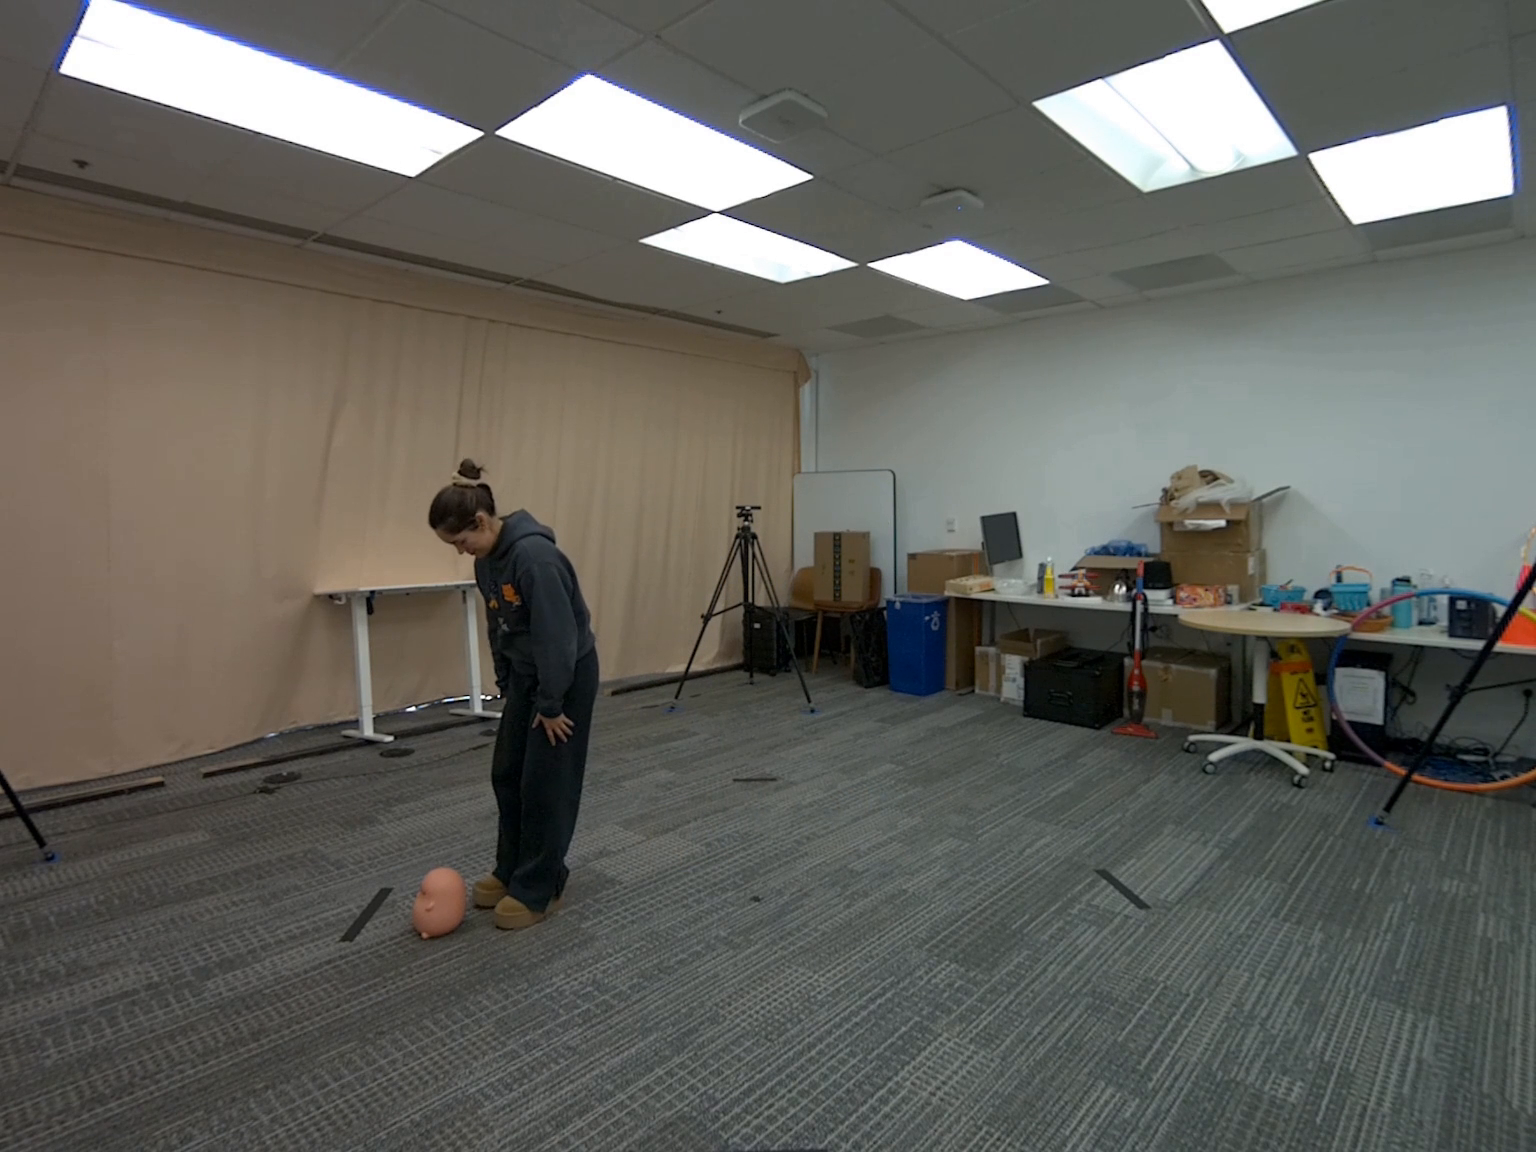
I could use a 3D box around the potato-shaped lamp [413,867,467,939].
[{"bbox_3d":[-1.079,1.084,2.786,0.166,0.198,0.170,4,0,-38],"label":"potato-shaped lamp"}]
